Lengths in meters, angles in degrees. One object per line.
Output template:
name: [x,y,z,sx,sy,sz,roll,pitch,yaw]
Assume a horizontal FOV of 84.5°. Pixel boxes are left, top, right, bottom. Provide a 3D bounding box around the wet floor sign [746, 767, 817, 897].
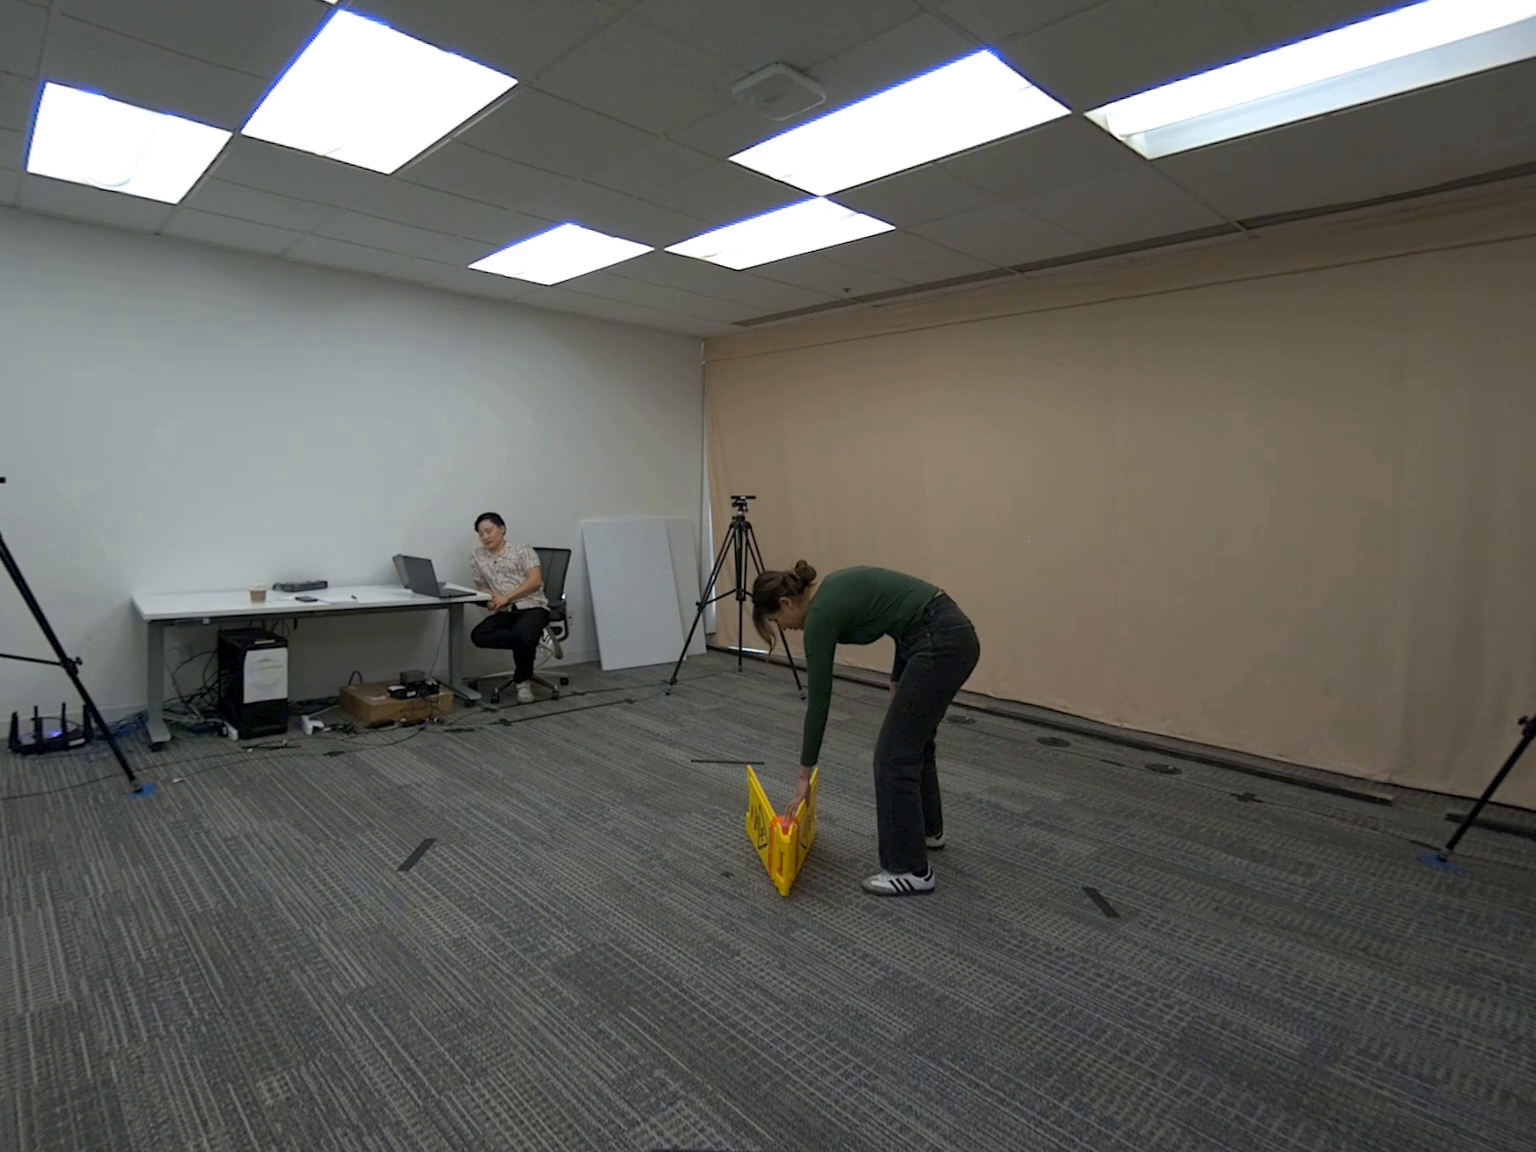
wet floor sign: [0.055,0.963,3.194,0.290,0.281,0.649,1,7,0]
